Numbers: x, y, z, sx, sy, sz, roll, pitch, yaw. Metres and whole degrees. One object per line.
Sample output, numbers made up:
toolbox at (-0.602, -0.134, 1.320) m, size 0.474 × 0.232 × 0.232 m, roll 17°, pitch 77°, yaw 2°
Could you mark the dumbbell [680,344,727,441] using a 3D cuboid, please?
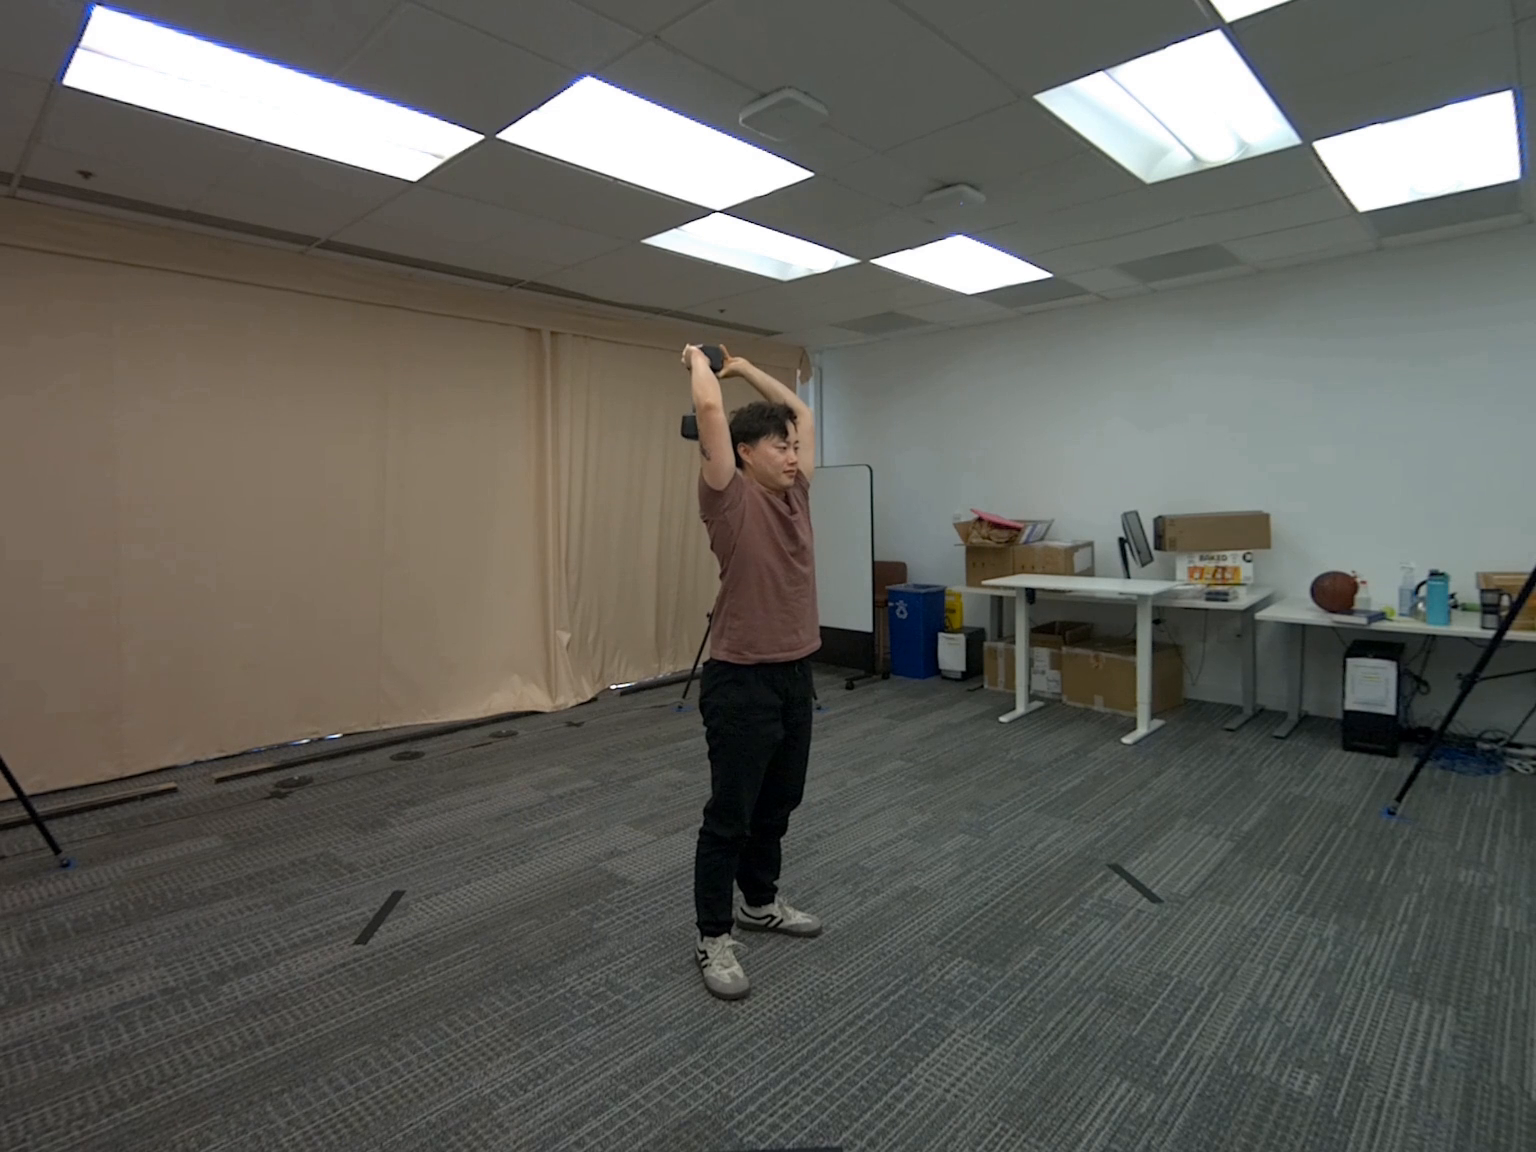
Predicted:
dumbbell at (-0.200, -0.577, 2.669) m, size 0.127 × 0.293 × 0.105 m, roll 12°, pitch 6°, yaw 44°
